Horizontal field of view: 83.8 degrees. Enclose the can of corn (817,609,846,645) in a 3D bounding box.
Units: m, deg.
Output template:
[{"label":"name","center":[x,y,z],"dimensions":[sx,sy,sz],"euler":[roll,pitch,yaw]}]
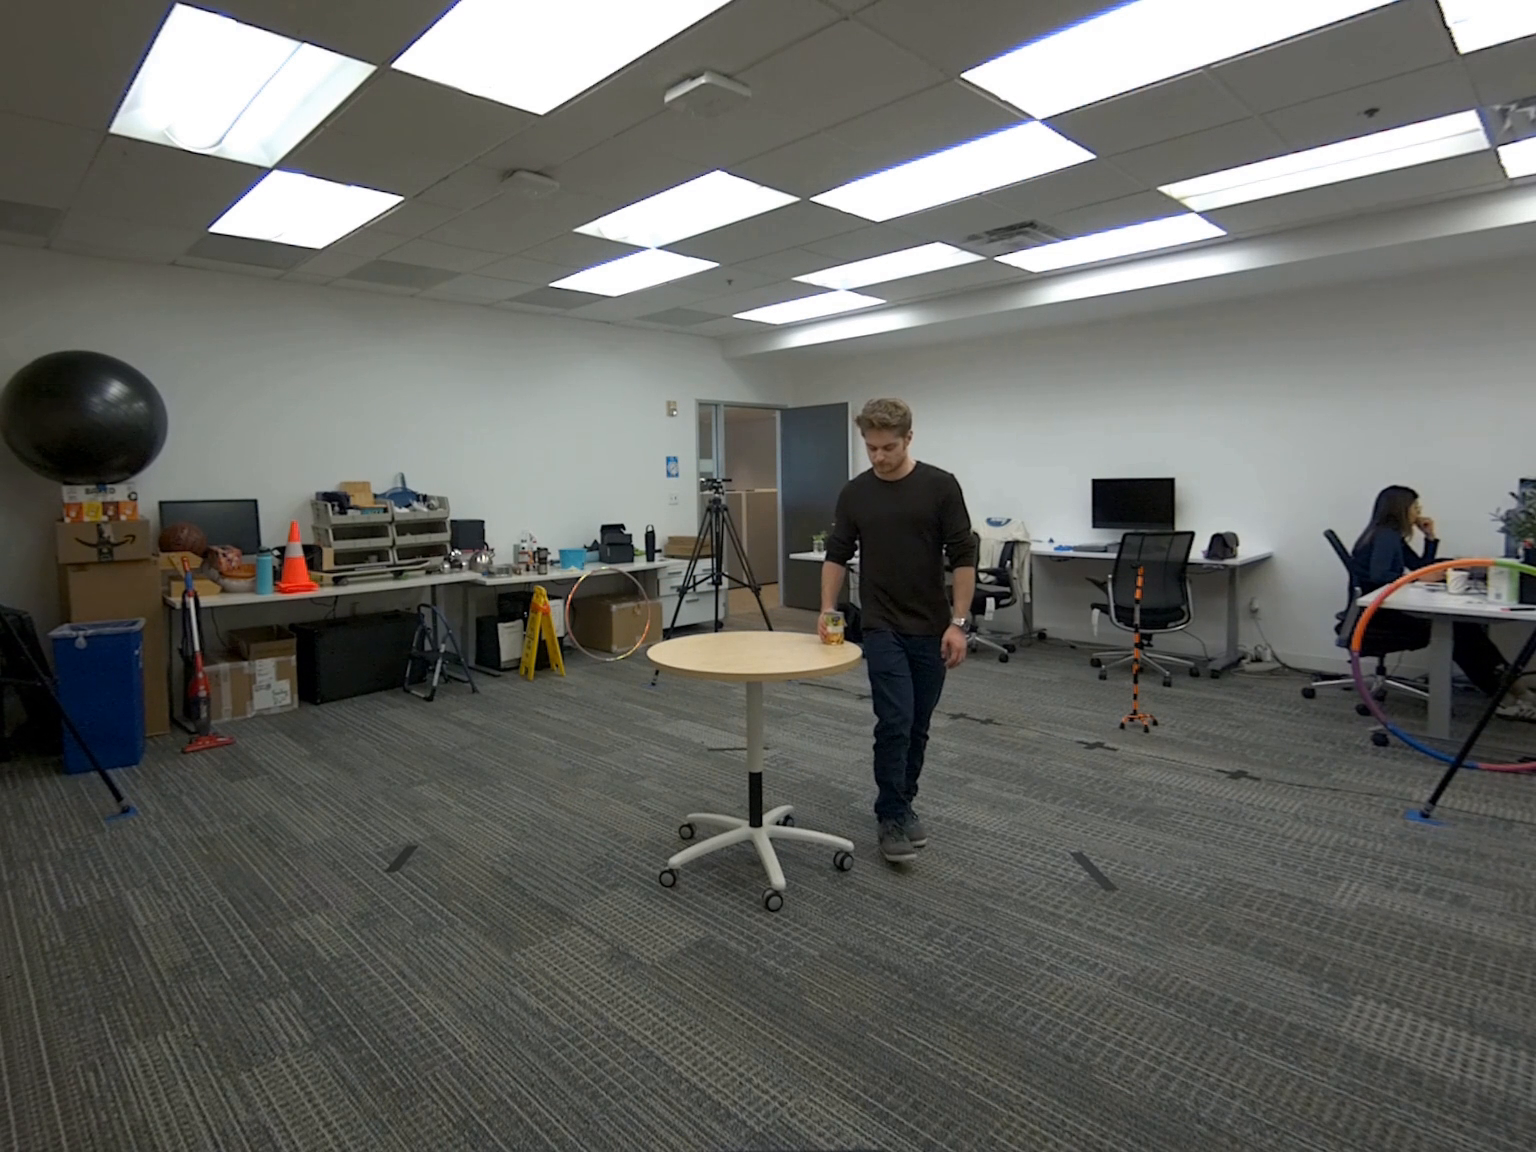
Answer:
[{"label":"can of corn","center":[0.238,0.196,3.163],"dimensions":[0.074,0.111,0.074],"euler":[-2,2,-2]}]
